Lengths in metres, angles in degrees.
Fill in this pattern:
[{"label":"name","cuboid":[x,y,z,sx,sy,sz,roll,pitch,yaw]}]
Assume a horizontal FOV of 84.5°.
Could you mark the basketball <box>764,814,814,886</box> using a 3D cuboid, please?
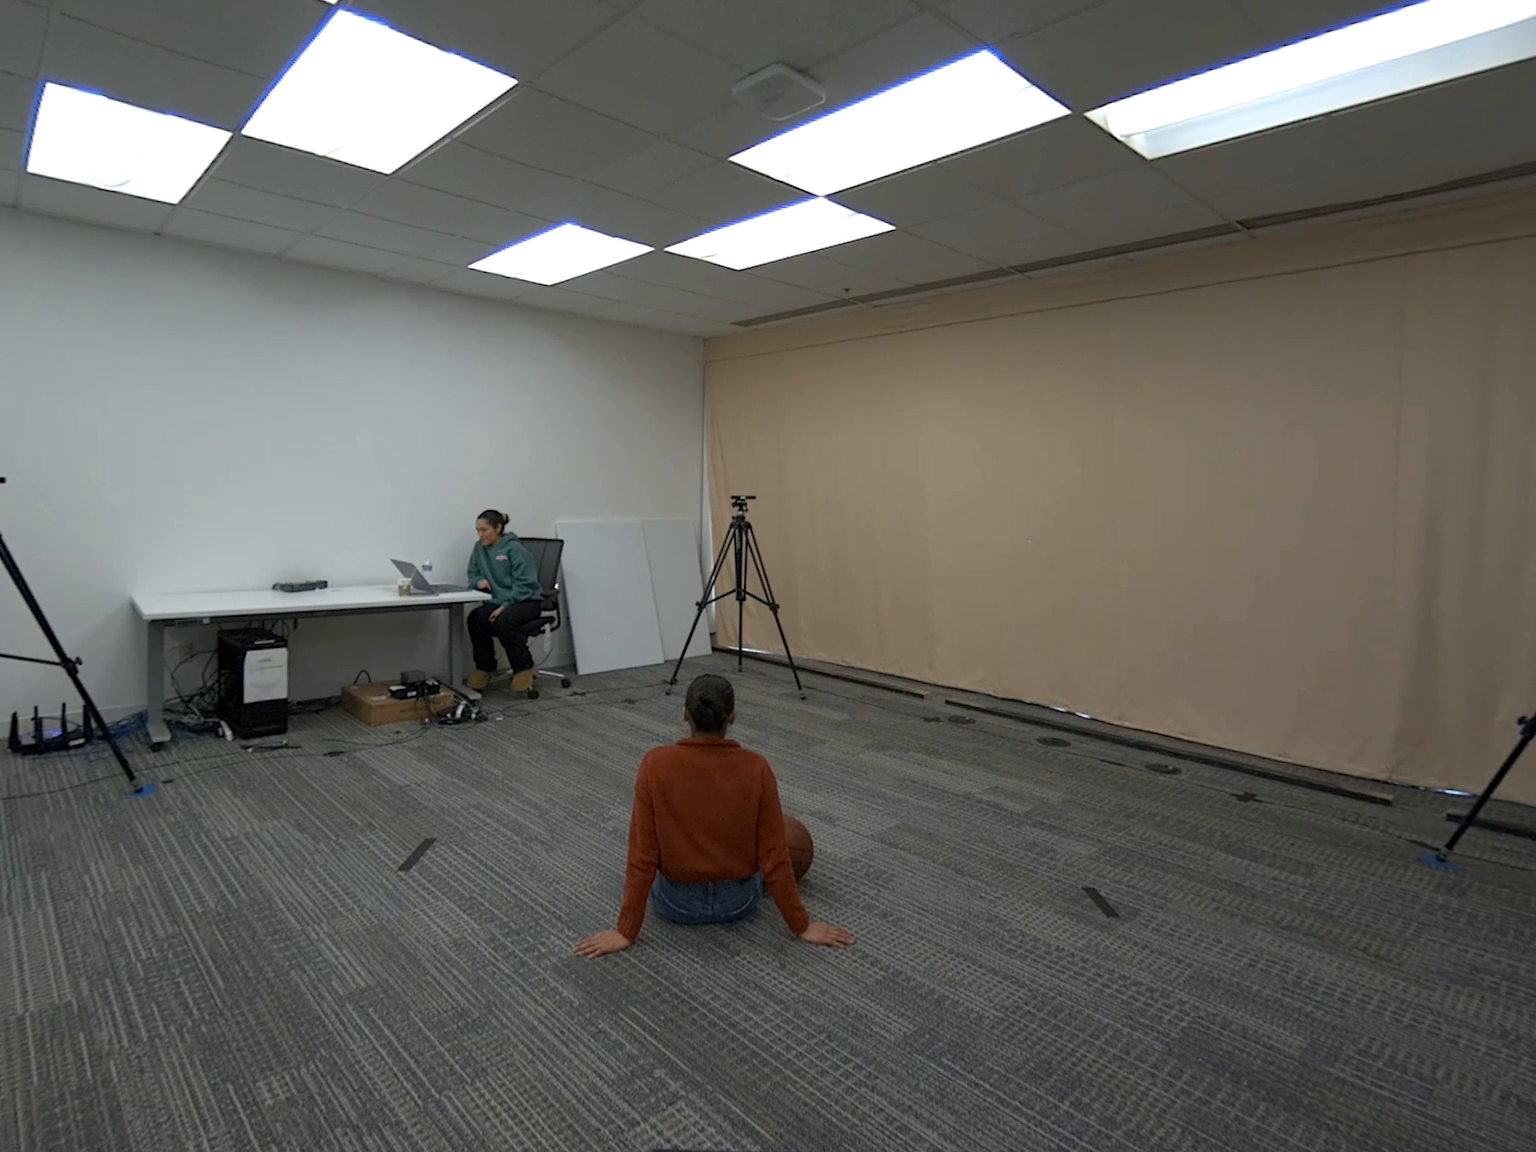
[{"label":"basketball","cuboid":[0.044,0.991,3.053,0.236,0.235,0.237,1,4,-1]}]
